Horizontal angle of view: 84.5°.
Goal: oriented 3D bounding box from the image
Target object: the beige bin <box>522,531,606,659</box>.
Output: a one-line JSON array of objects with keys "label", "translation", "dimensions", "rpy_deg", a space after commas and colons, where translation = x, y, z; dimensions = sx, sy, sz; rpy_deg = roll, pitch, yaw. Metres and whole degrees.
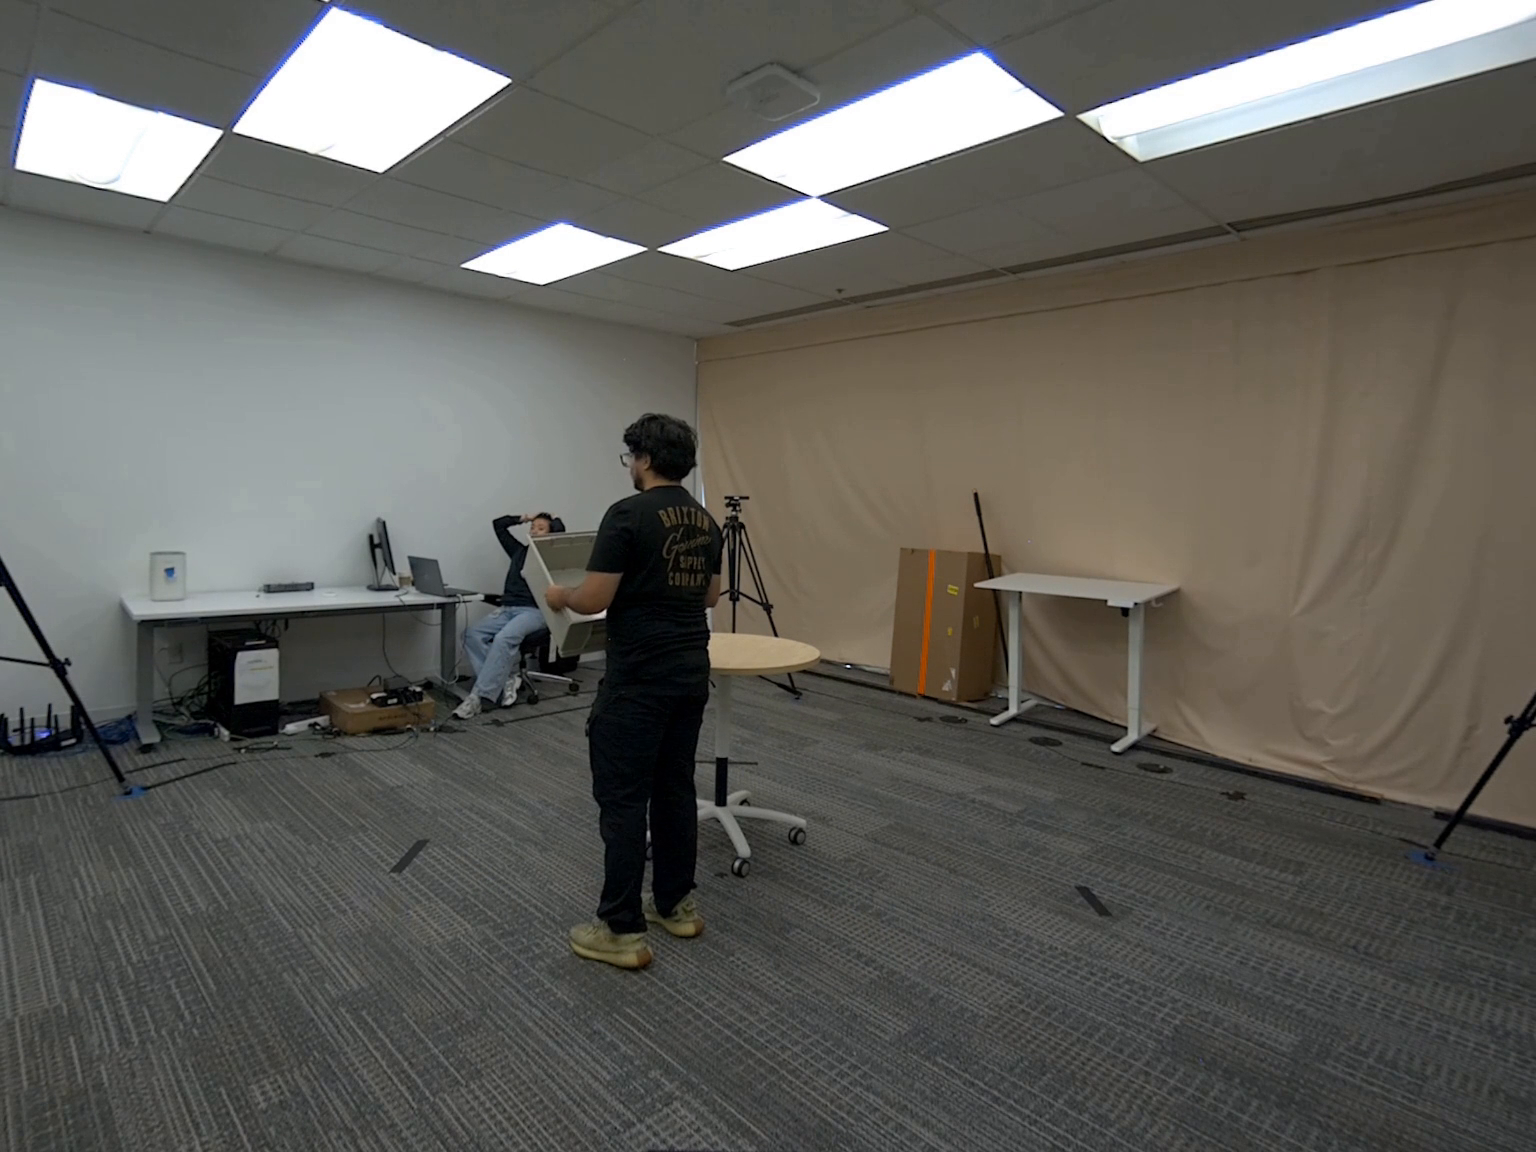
[{"label": "beige bin", "translation": [-0.624, 0.049, 2.987], "dimensions": [0.370, 0.187, 0.435], "rpy_deg": [-8, 48, -36]}]
